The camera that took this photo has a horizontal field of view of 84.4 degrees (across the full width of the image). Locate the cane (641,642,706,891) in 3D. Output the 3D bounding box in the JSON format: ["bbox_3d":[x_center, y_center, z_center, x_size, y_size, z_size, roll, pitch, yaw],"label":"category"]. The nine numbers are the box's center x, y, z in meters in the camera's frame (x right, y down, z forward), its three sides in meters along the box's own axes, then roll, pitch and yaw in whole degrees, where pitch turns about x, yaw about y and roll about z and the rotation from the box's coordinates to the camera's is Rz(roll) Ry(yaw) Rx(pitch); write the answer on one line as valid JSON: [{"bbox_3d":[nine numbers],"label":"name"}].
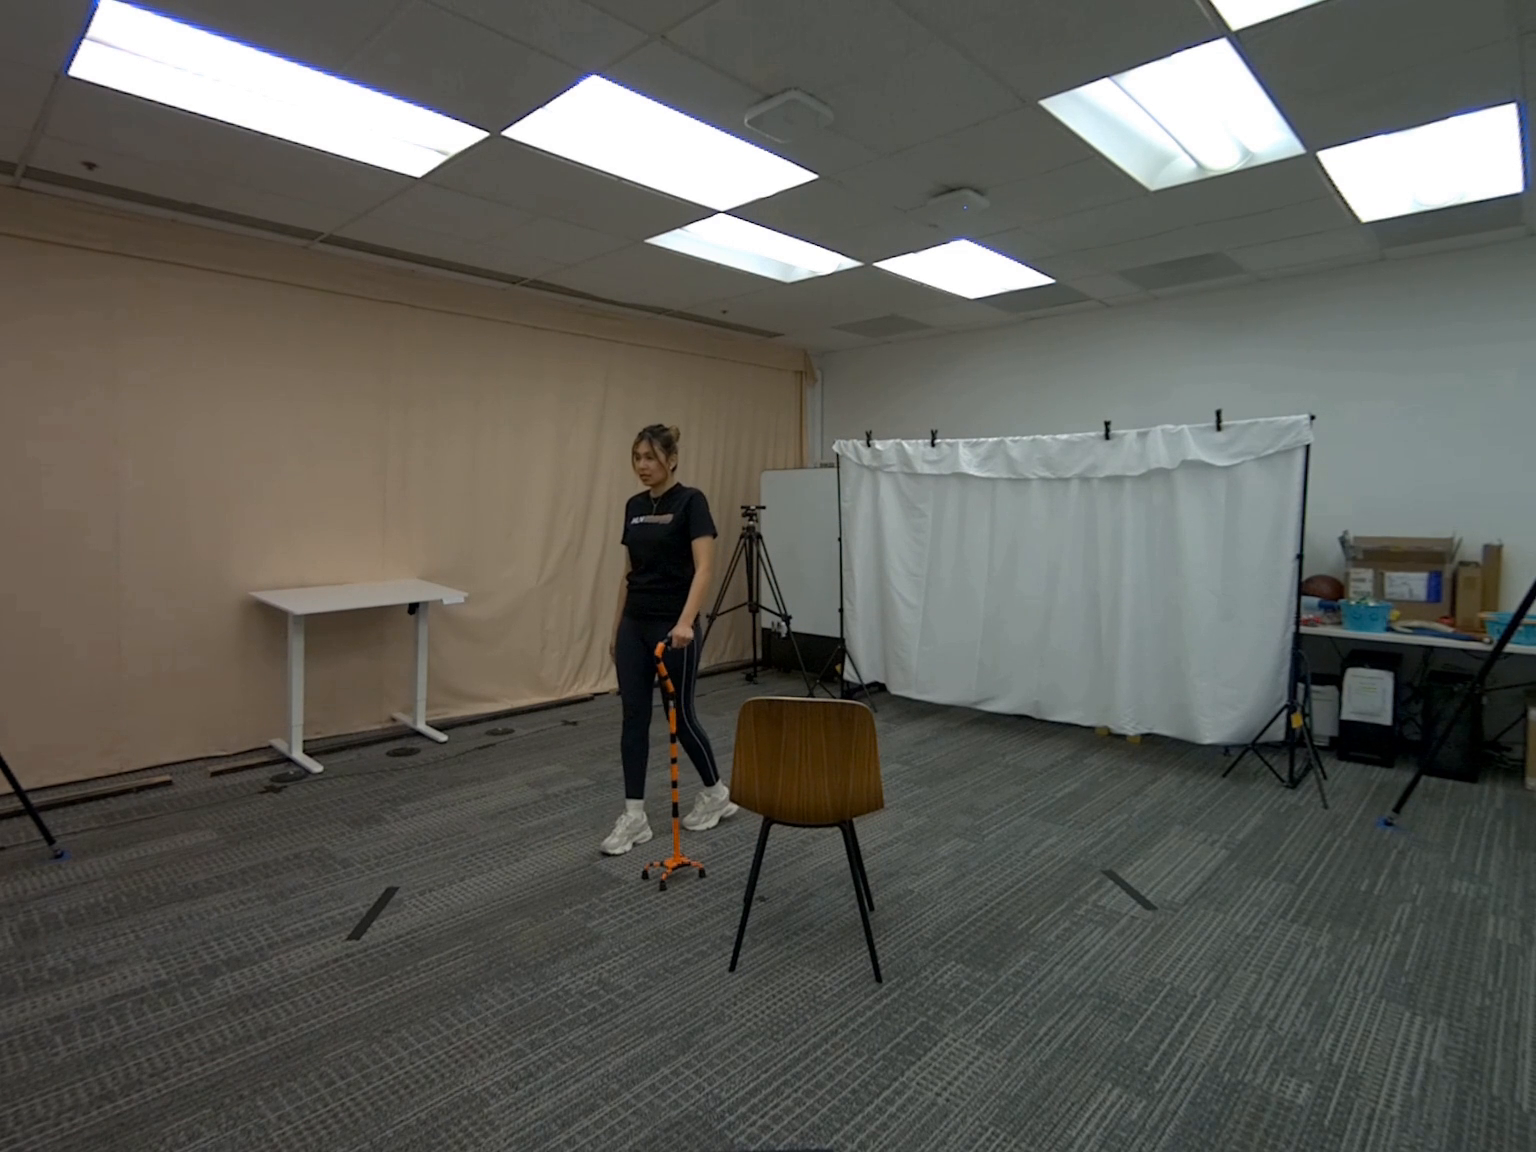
[{"bbox_3d":[-0.354,0.672,3.136,0.200,0.906,0.156,-2,4,-37],"label":"cane"}]
